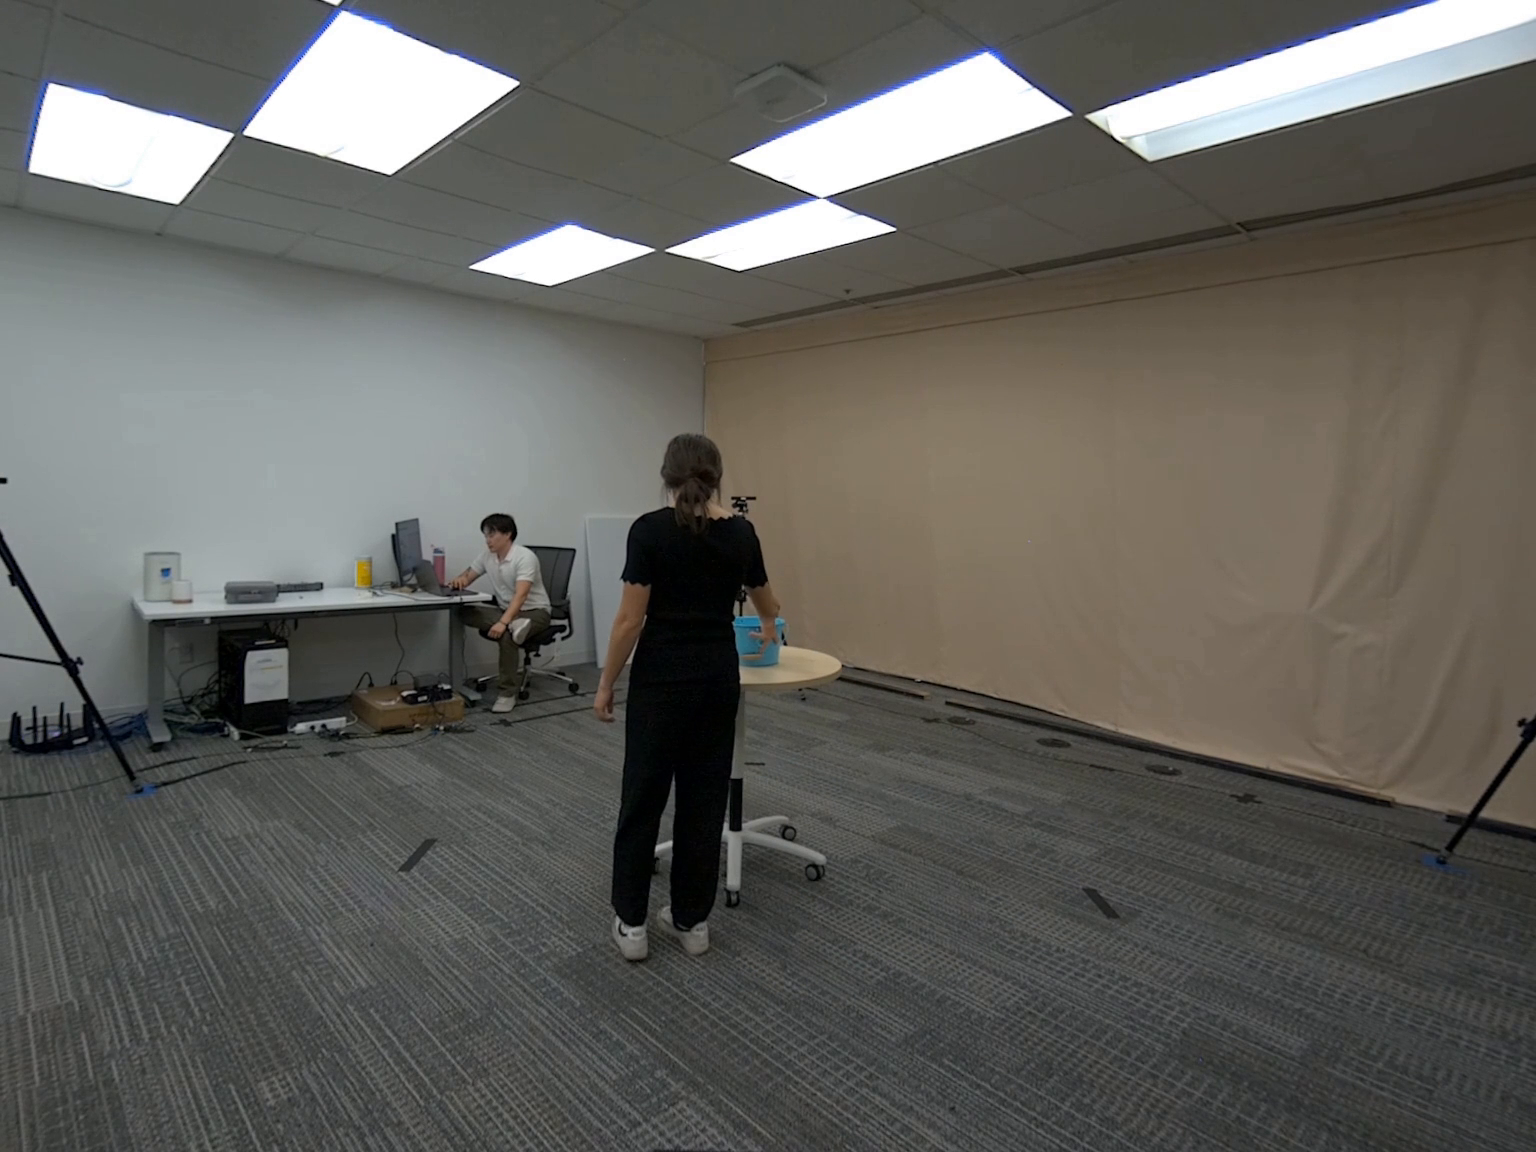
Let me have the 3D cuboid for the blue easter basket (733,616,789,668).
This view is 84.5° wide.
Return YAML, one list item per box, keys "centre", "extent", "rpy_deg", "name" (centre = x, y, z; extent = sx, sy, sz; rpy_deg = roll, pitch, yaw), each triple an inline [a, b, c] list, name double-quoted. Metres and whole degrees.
- centre: [-0.063, 0.245, 3.136]
  extent: [0.243, 0.155, 0.244]
  rpy_deg: [1, 5, -1]
  name: "blue easter basket"
